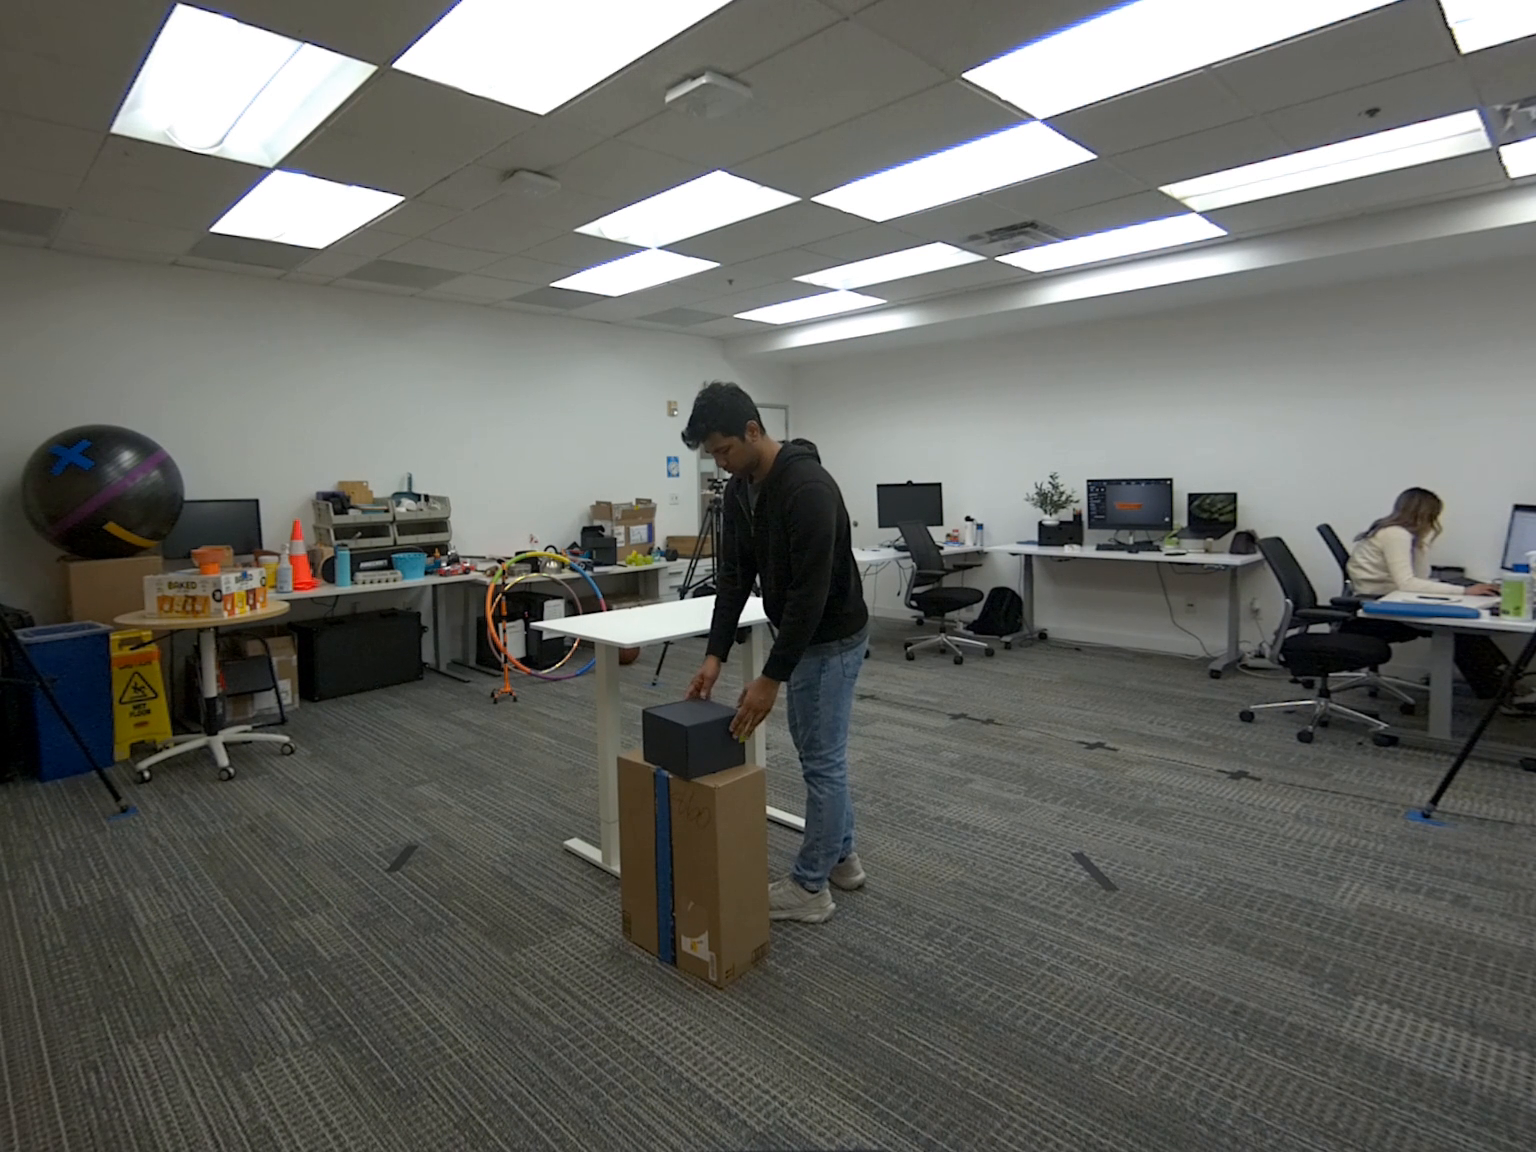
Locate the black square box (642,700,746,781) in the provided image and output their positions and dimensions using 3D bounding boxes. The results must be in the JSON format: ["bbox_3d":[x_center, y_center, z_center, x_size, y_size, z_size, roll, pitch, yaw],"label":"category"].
[{"bbox_3d":[-0.217,0.470,2.513,0.211,0.155,0.235,-6,7,-40],"label":"black square box"}]
